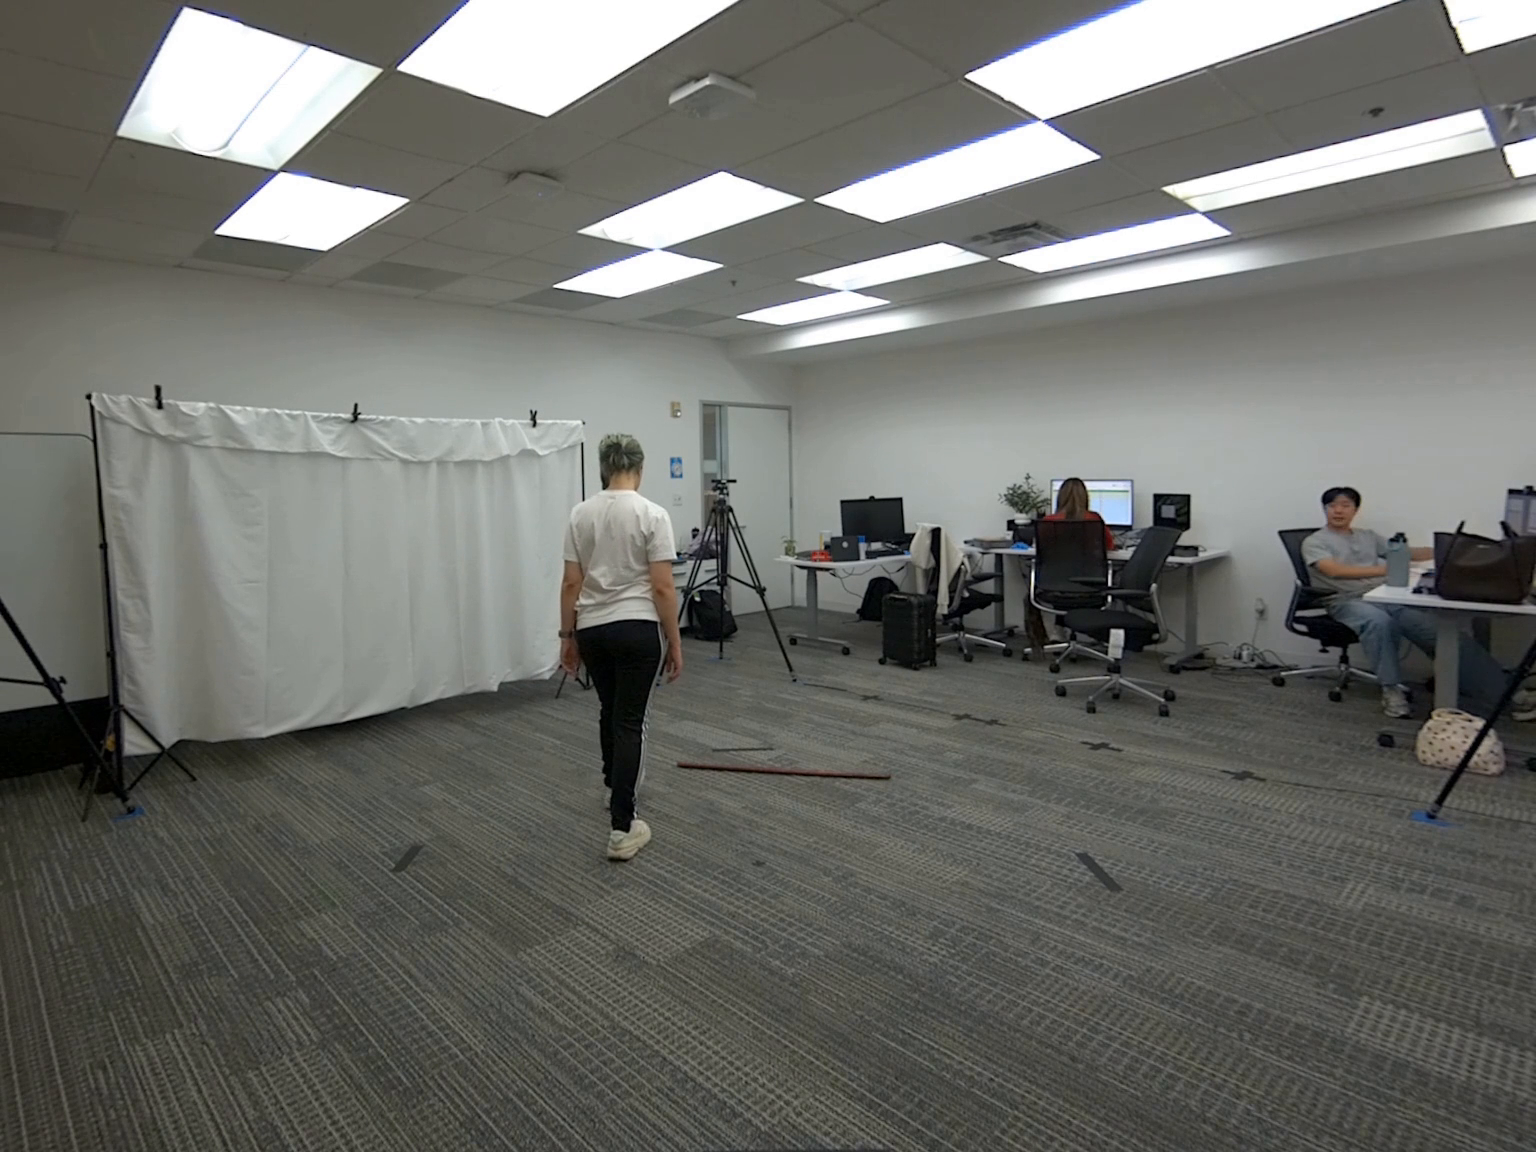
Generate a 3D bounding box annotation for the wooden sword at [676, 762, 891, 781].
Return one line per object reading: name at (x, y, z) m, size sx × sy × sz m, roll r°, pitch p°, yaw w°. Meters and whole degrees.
wooden sword at (0.046, 0.917, 4.050) m, size 1.038 × 0.024 × 0.050 m, roll 0°, pitch -12°, yaw 13°
